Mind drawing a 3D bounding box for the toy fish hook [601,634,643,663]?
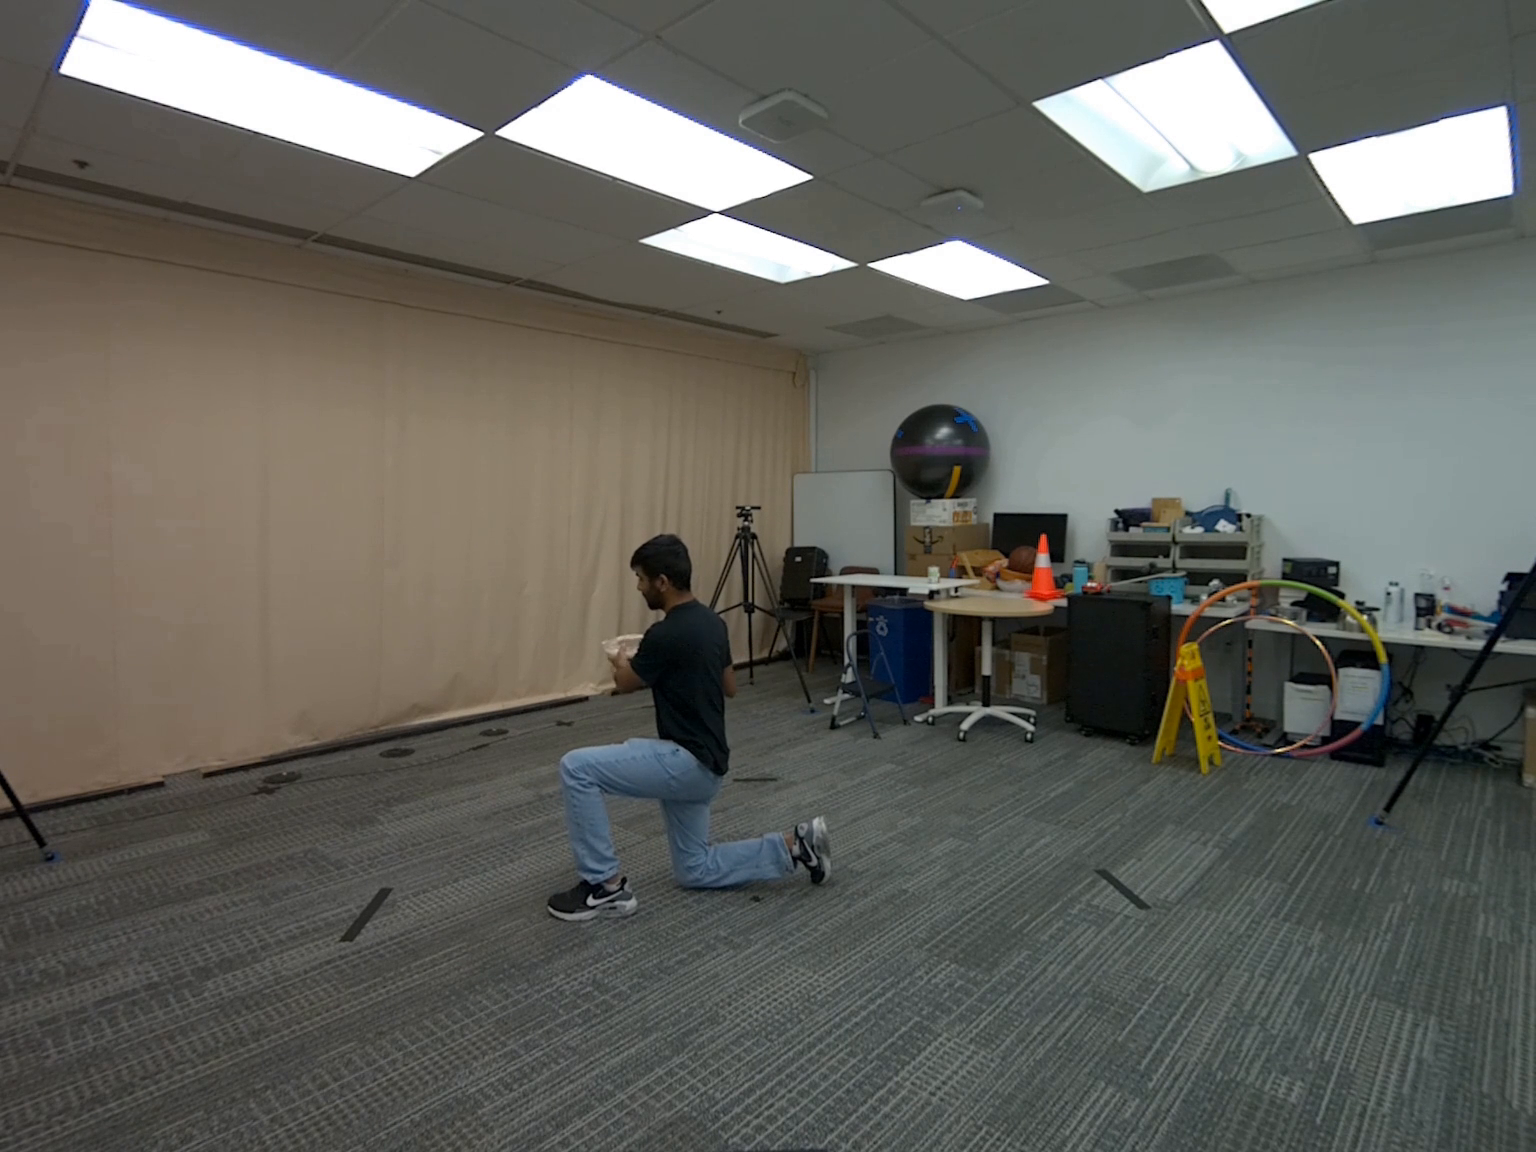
[{"bbox_3d":[-0.442,0.277,3.477,0.498,0.048,0.231,-2,22,-16],"label":"toy fish hook"}]
